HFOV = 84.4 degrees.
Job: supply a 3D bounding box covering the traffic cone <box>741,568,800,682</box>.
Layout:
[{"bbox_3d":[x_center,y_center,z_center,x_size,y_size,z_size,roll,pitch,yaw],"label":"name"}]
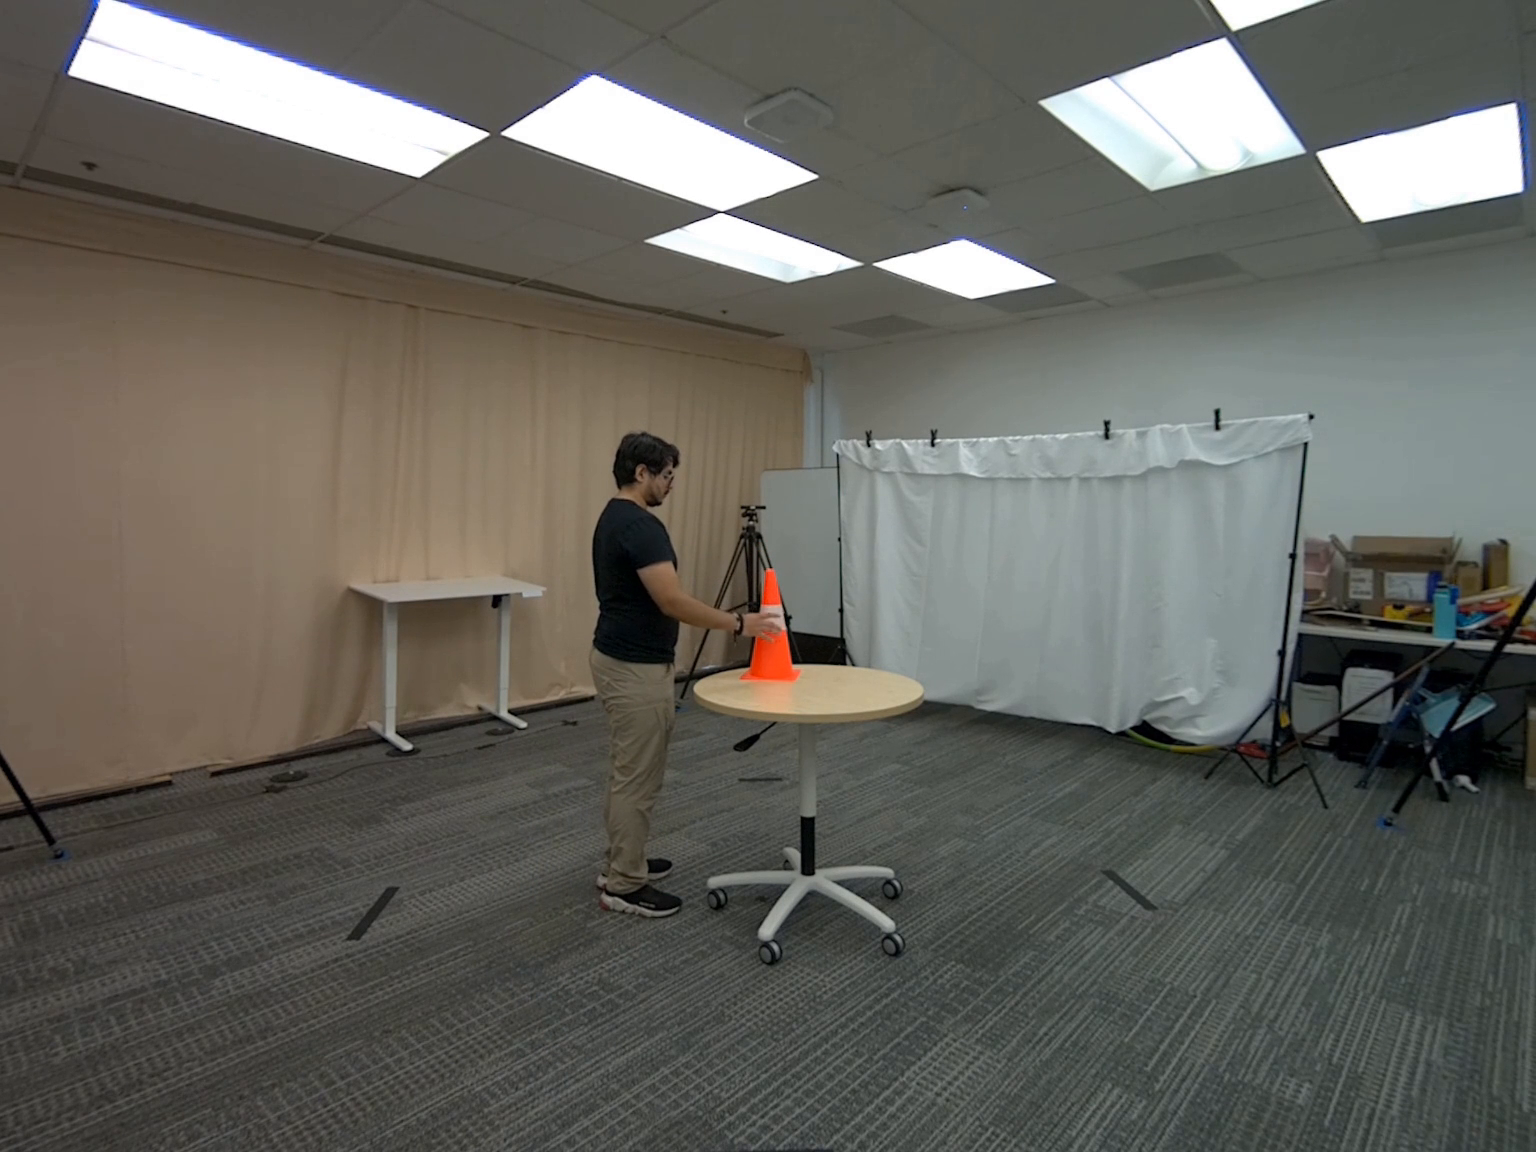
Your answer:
[{"bbox_3d":[0.011,0.170,3.024,0.207,0.383,0.201,0,1,8],"label":"traffic cone"}]
